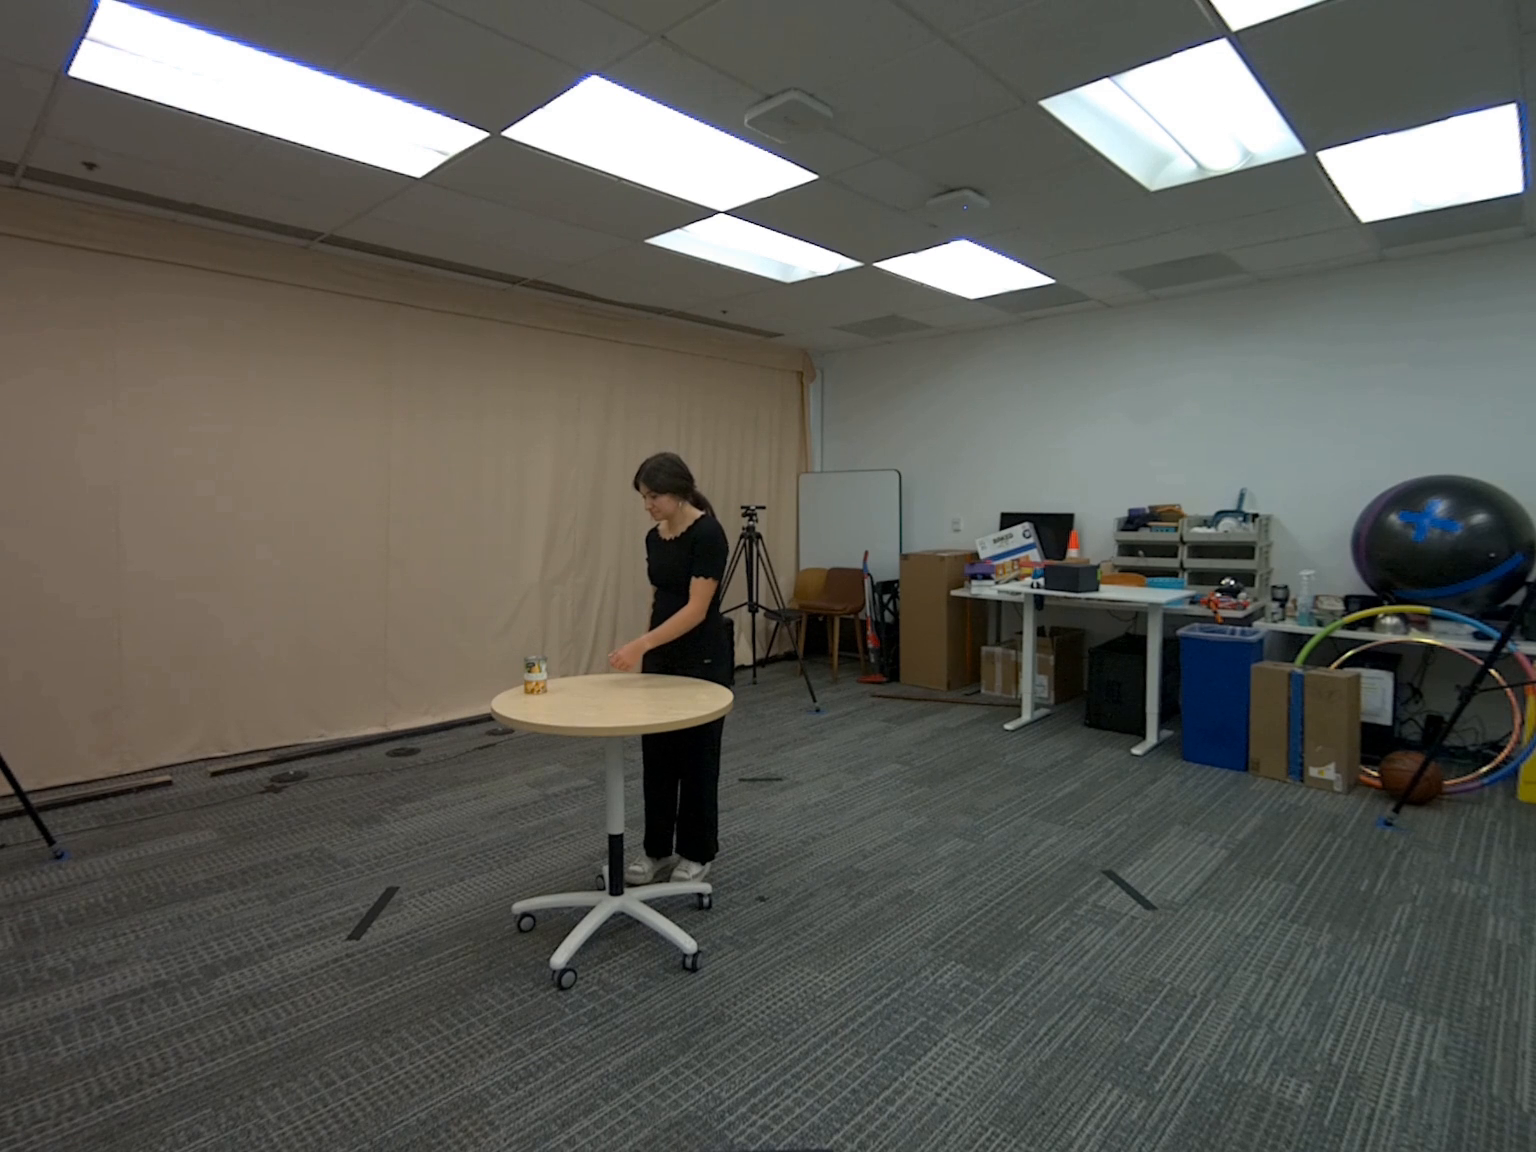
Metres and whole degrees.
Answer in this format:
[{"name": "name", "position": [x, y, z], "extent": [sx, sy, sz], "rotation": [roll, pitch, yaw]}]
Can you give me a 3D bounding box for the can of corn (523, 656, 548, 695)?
[{"name": "can of corn", "position": [-0.765, 0.324, 2.776], "extent": [0.074, 0.111, 0.074], "rotation": [1, 2, -2]}]
